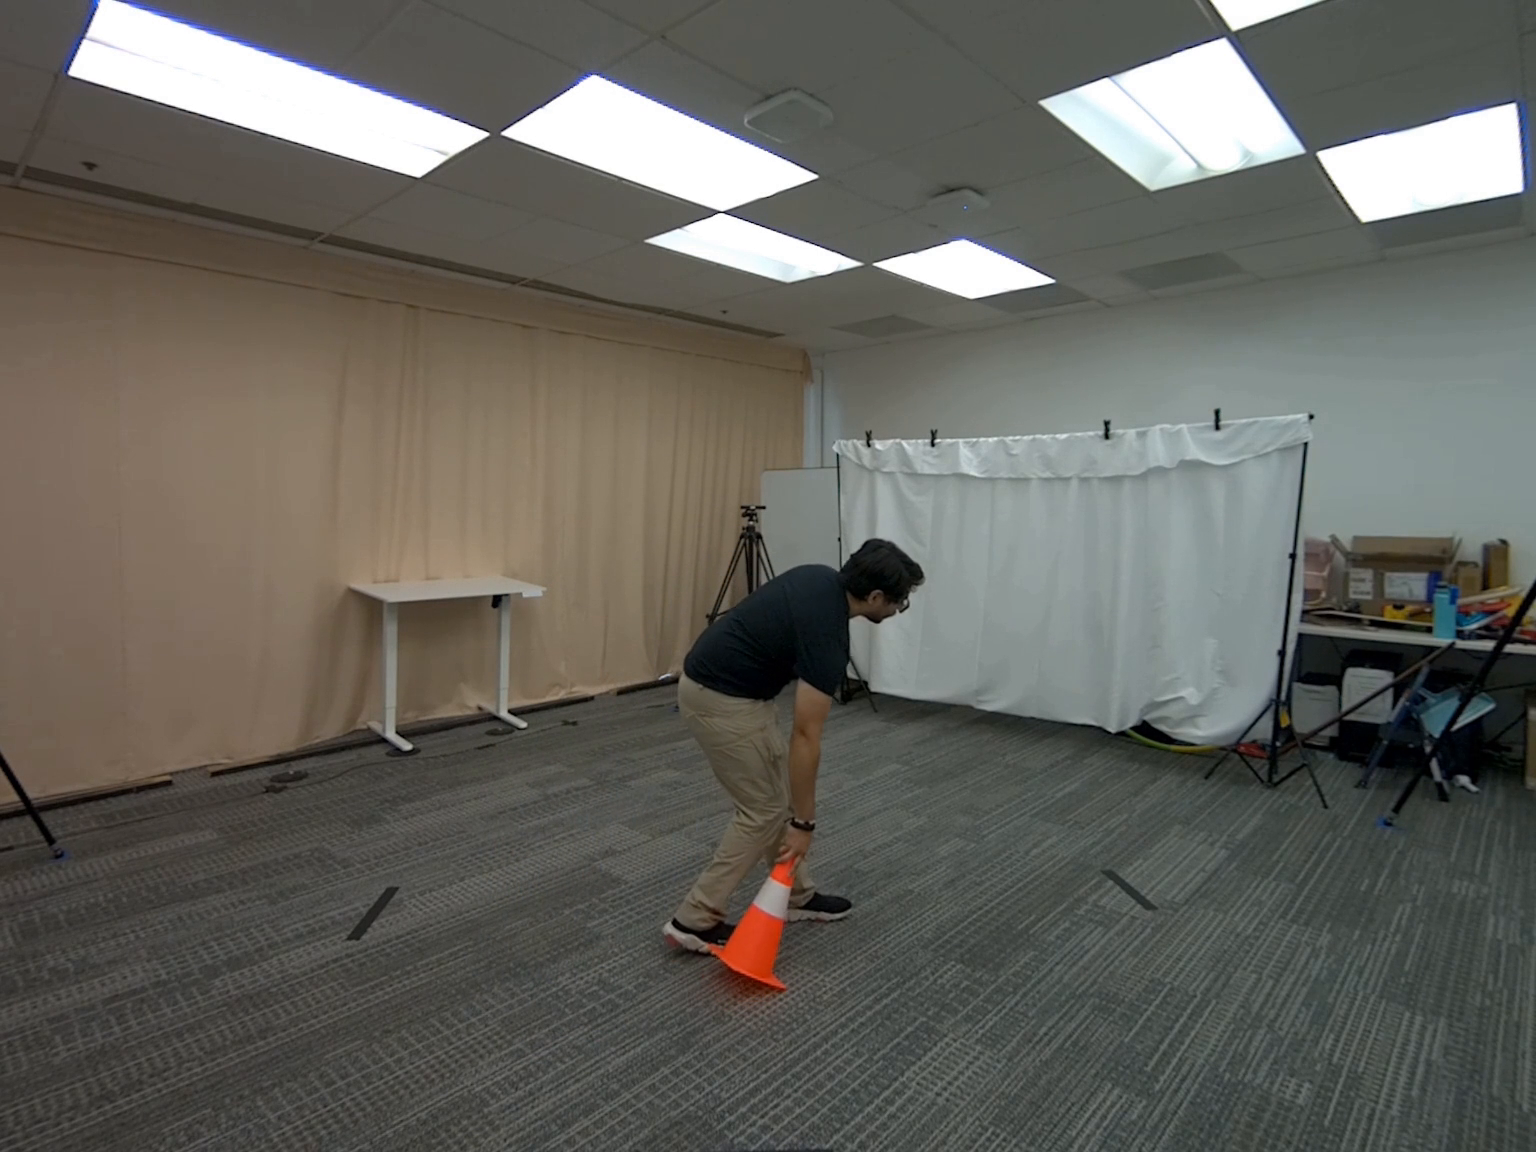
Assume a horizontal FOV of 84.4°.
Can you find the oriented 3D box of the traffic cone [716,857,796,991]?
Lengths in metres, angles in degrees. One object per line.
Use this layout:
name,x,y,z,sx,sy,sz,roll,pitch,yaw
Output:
traffic cone,0.021,0.978,2.506,0.201,0.384,0.207,23,-11,-18
